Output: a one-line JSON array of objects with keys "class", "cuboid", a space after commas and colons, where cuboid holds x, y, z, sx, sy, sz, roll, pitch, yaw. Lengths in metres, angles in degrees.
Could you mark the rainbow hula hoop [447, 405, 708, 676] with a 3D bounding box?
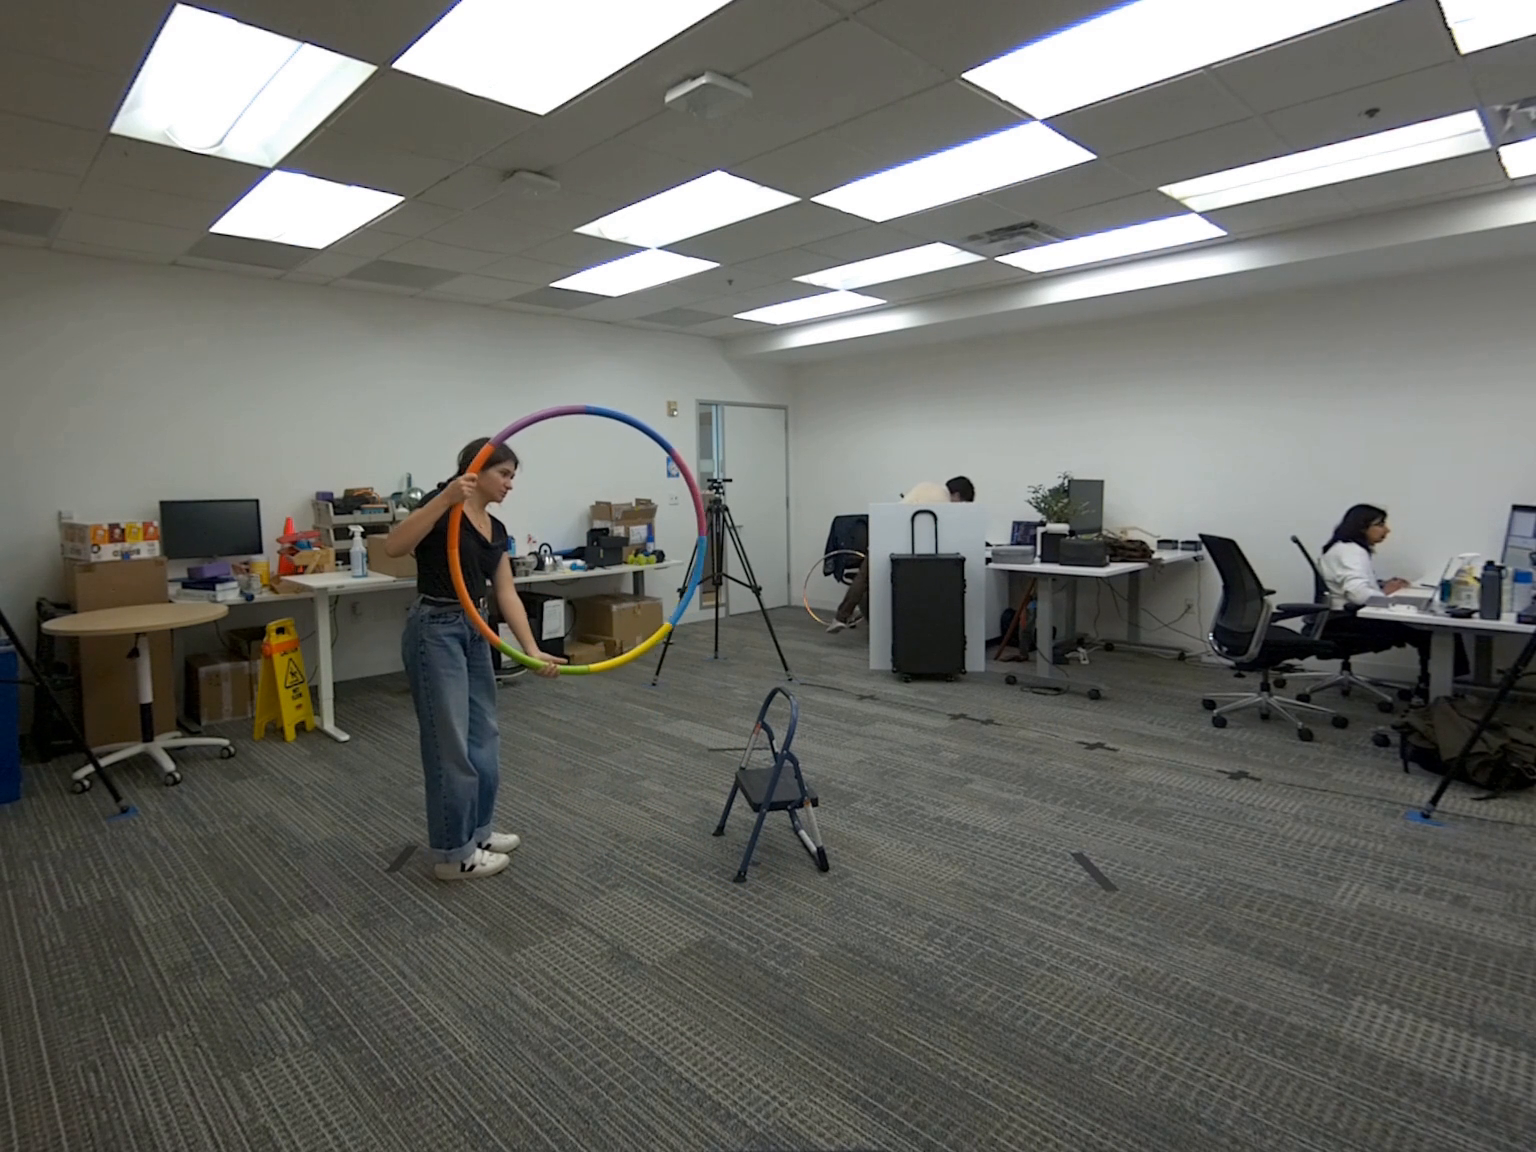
[{"class": "rainbow hula hoop", "cuboid": [-0.656, -0.128, 3.098, 0.954, 0.973, 0.036, -4, 8, -34]}]
